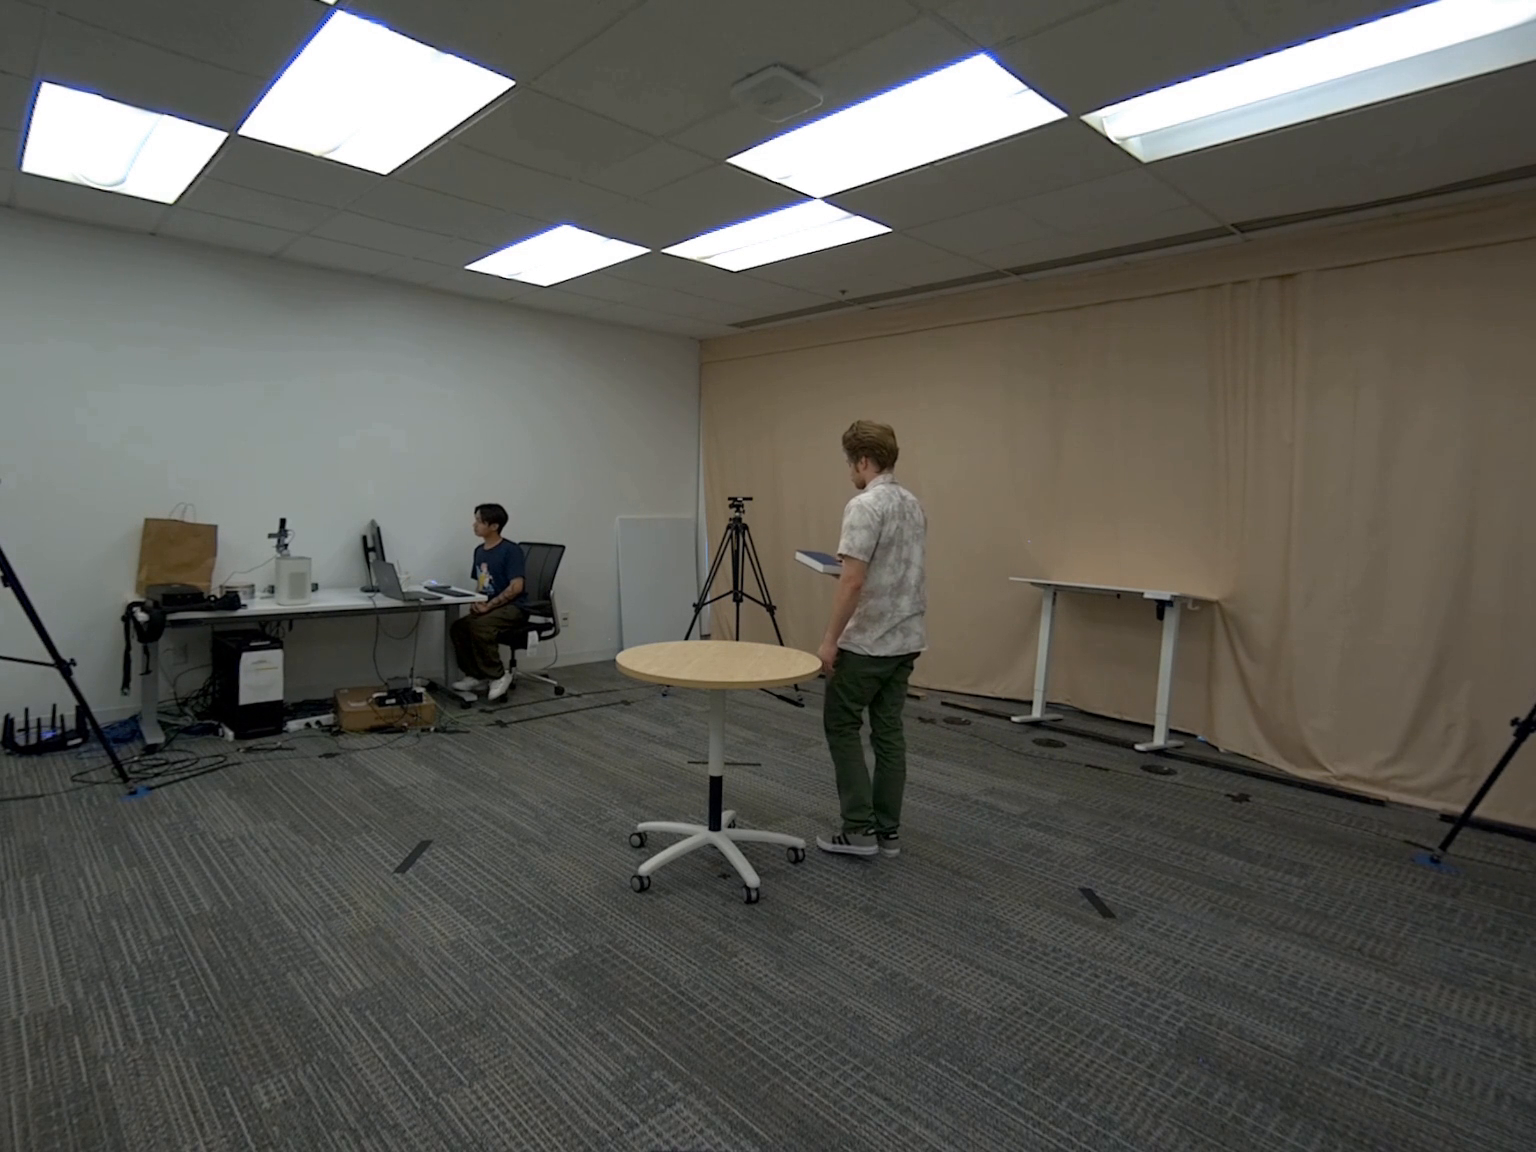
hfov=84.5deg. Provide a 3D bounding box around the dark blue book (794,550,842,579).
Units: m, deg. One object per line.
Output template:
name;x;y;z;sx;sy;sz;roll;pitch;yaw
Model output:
dark blue book;0.243;-0.059;3.719;0.160;0.045;0.252;3;13;-27
